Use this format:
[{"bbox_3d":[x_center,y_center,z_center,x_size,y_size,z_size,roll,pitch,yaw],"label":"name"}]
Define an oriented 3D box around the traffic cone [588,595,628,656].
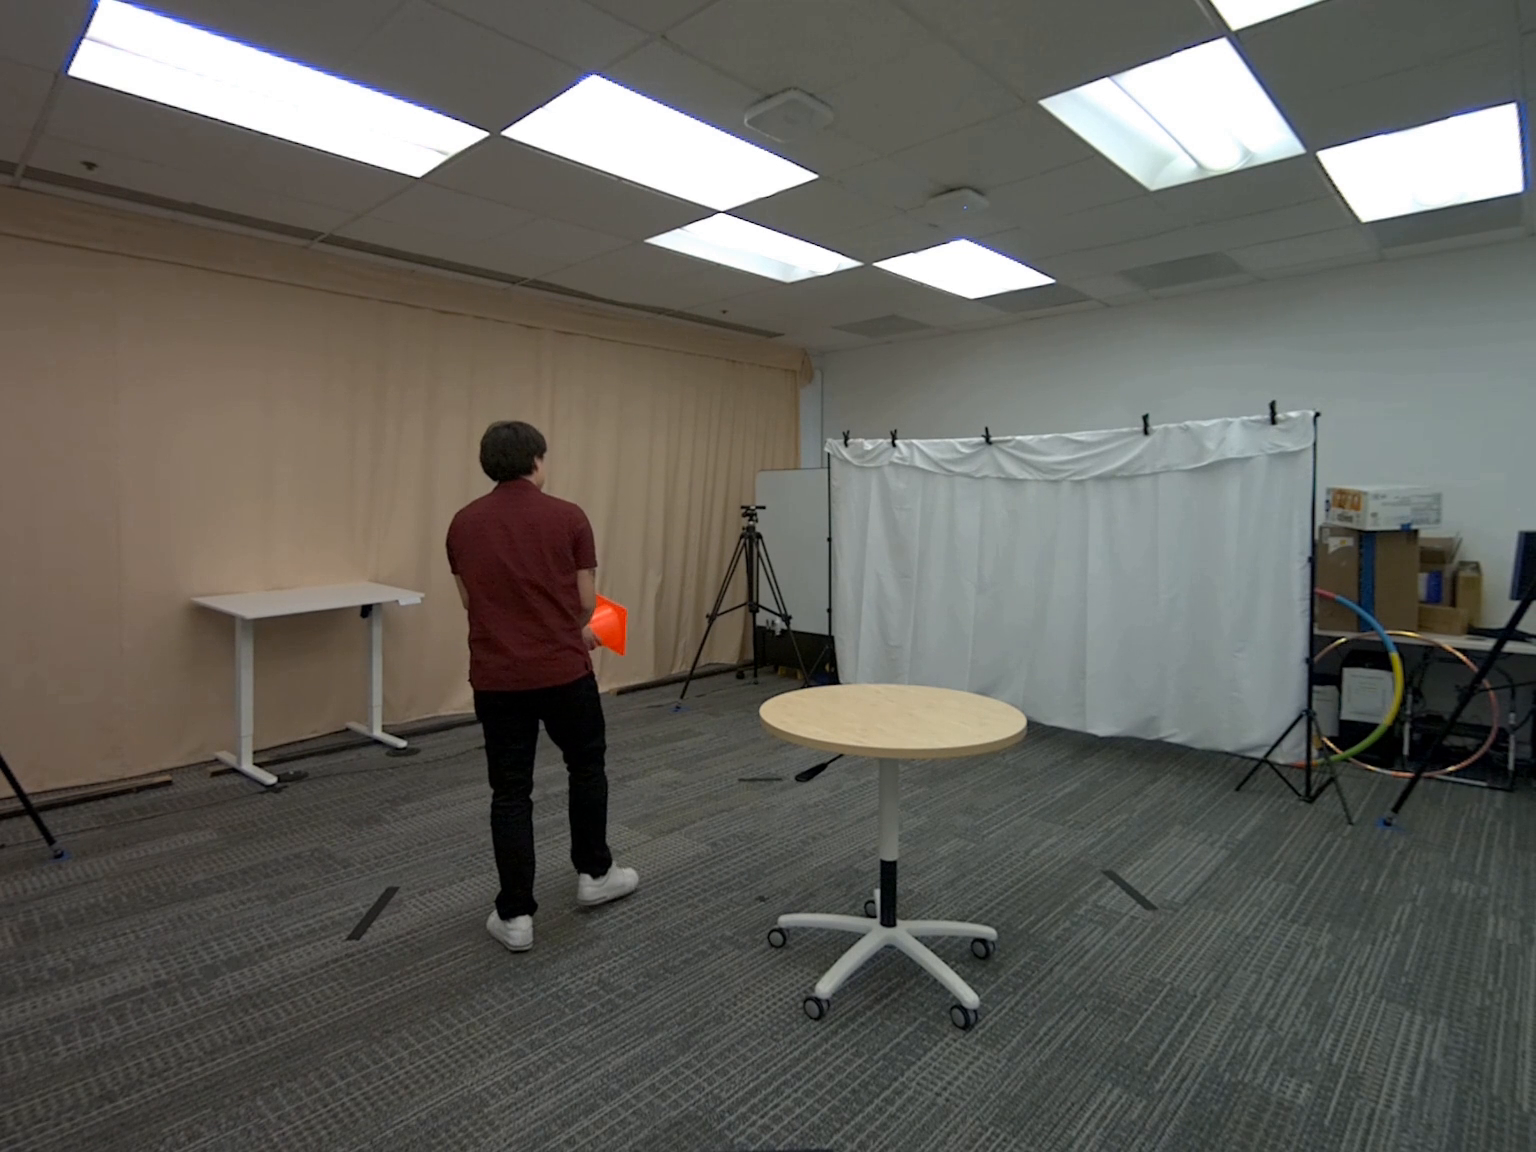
[{"bbox_3d":[-0.725,0.235,3.104,0.212,0.201,0.375,21,29,36],"label":"traffic cone"}]
